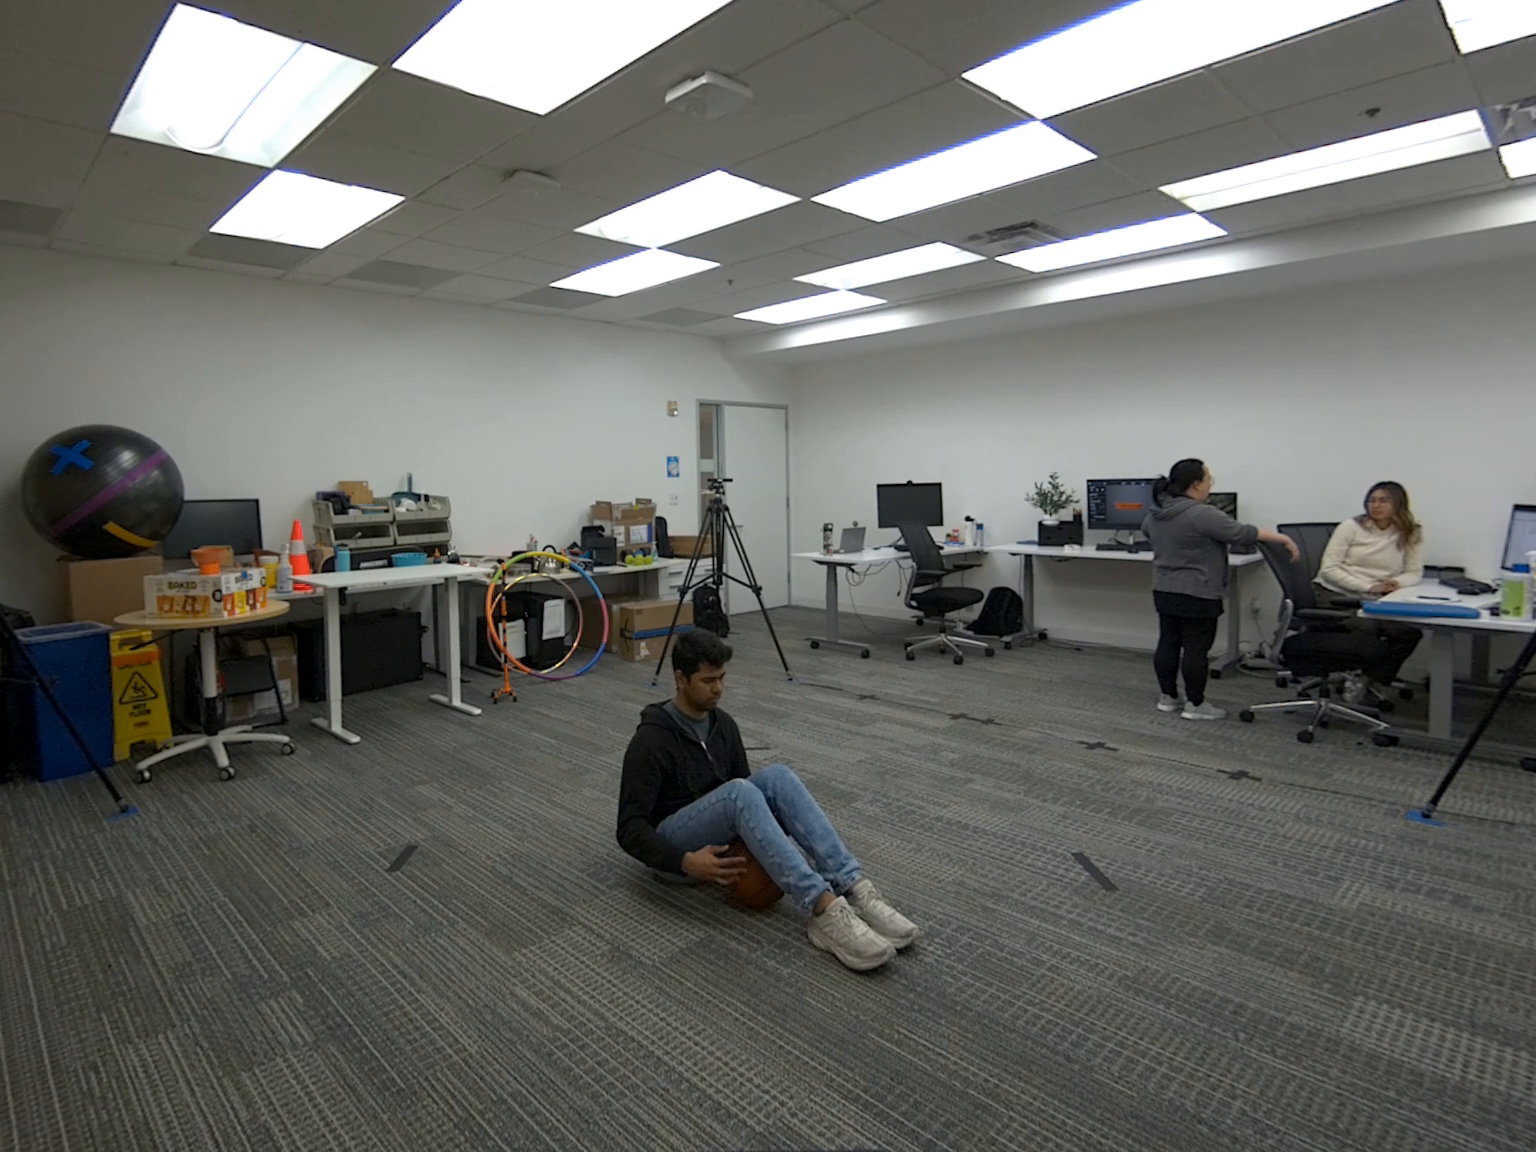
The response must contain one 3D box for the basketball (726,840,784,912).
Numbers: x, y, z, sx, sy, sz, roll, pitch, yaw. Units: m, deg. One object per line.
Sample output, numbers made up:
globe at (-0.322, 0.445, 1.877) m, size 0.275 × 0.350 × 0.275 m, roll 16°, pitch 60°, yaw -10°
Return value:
basketball at (-0.037, 0.956, 2.806) m, size 0.236 × 0.235 × 0.237 m, roll -1°, pitch 5°, yaw -2°
